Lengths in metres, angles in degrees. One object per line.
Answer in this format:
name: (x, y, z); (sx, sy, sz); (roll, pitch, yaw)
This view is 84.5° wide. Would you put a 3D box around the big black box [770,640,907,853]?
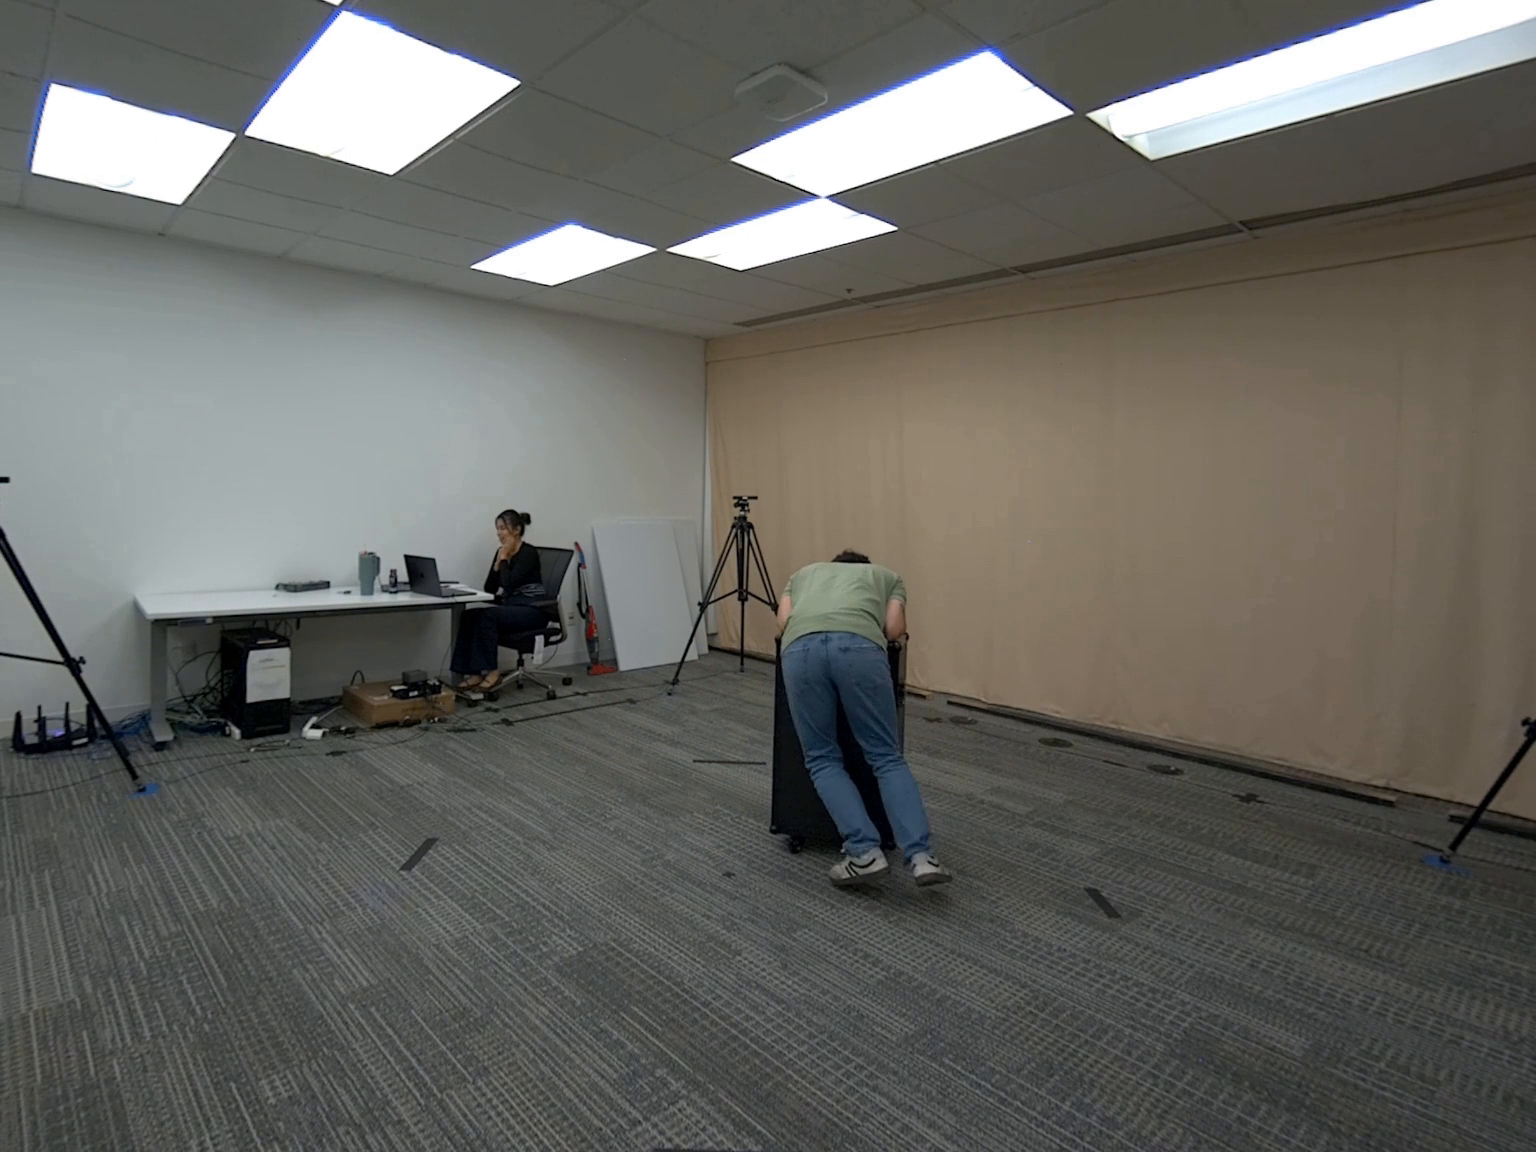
big black box: (0.283, 0.665, 3.425); (0.527, 0.861, 0.392); (3, 1, 14)
